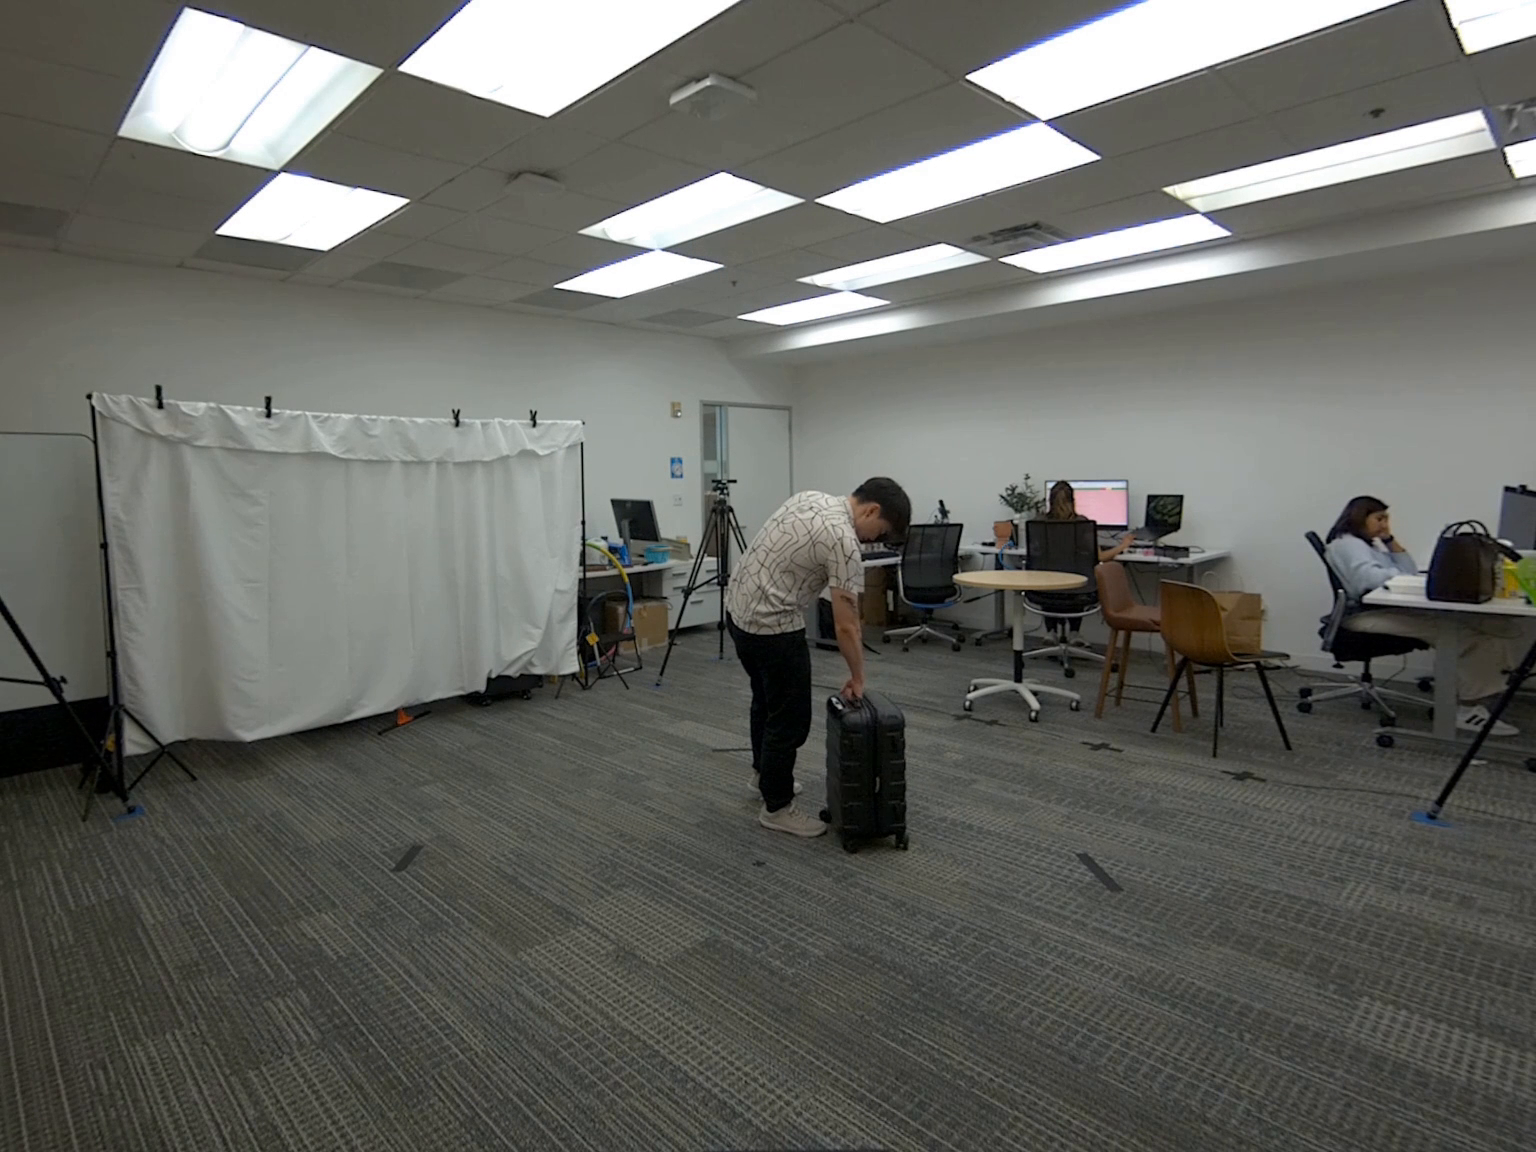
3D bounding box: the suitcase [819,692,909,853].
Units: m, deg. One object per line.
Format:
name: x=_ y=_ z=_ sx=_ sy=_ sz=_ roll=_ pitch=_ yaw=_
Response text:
suitcase: x=0.378 y=0.740 z=3.324 sx=0.246 sy=0.547 sz=0.379 roll=-2 pitch=4 yaw=-8
